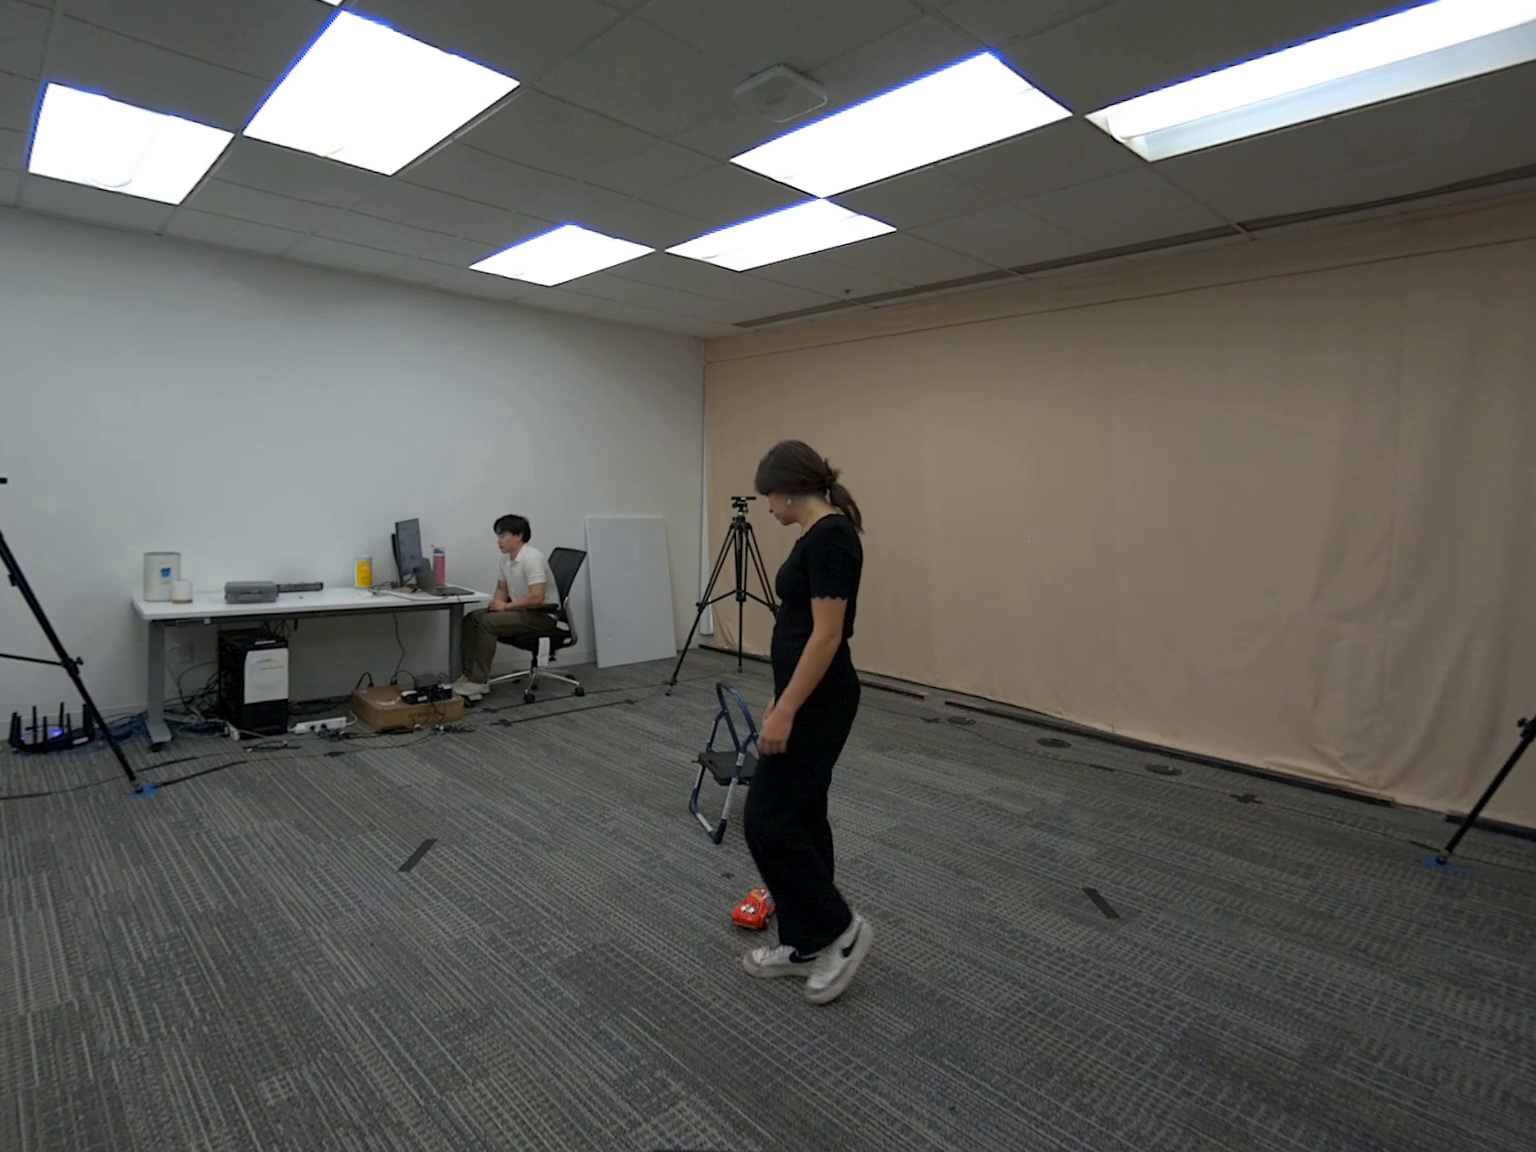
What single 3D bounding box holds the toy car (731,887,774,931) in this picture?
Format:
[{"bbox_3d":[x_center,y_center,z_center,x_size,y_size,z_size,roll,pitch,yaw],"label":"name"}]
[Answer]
[{"bbox_3d":[-0.048,1.117,2.780,0.133,0.083,0.249,6,-3,22],"label":"toy car"}]
